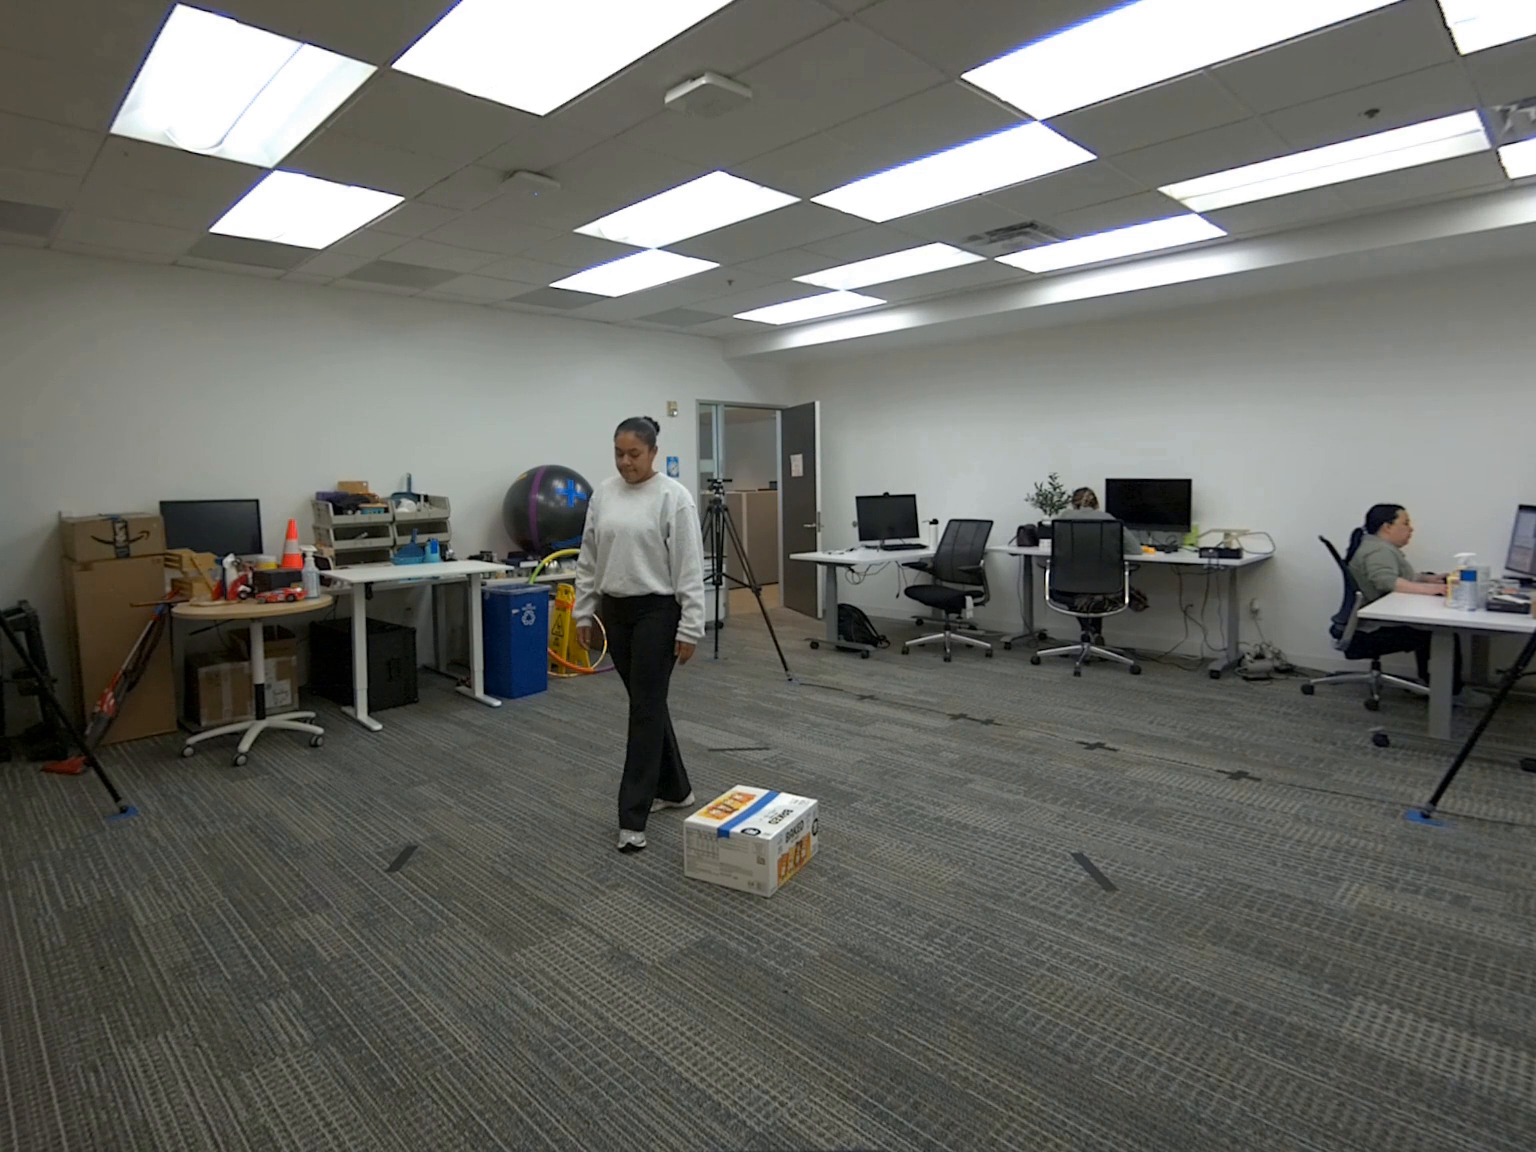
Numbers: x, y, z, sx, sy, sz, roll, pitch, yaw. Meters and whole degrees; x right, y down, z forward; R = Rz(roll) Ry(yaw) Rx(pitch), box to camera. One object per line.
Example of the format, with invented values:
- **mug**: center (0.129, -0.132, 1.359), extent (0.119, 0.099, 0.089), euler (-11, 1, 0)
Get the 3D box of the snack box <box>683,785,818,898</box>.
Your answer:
- **snack box**: center (-0.054, 0.945, 3.091), extent (0.349, 0.205, 0.397), euler (2, 6, 28)
